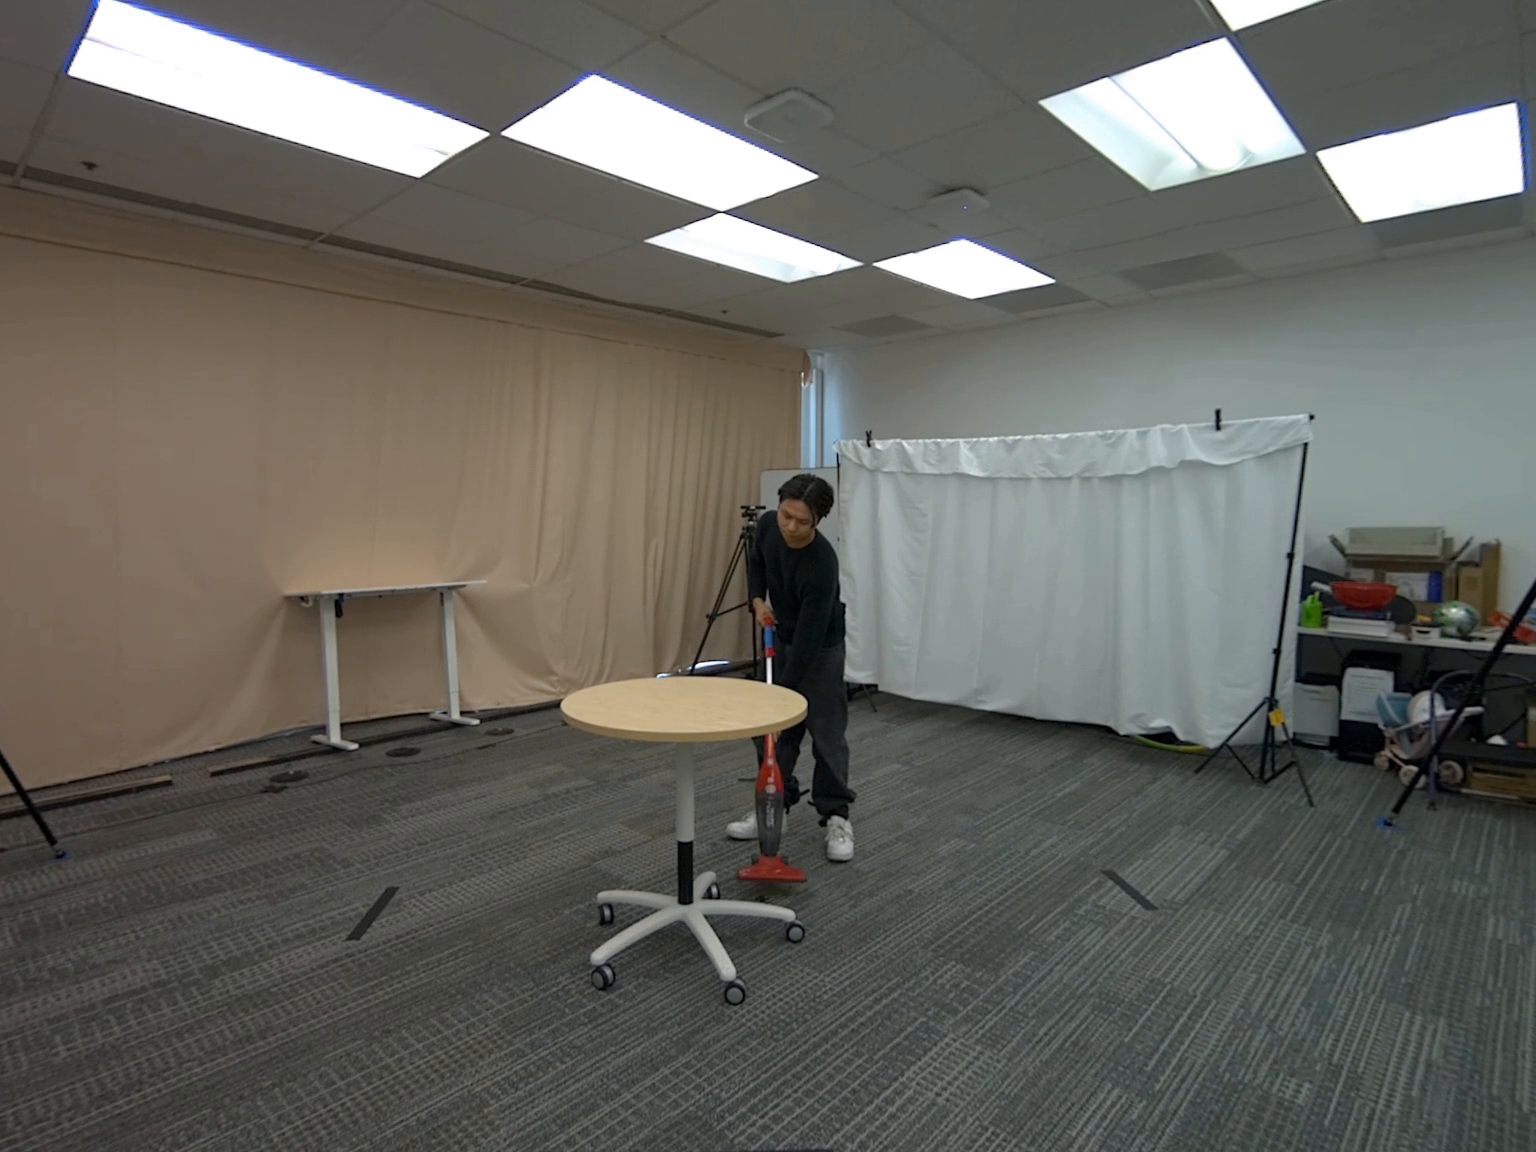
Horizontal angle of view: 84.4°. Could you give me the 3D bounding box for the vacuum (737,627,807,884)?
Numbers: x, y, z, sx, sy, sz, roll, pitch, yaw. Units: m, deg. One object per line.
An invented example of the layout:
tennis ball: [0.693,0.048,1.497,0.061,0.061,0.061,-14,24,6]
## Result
vacuum: [0.013,0.613,3.310,0.252,1.066,0.142,1,-29,-2]
